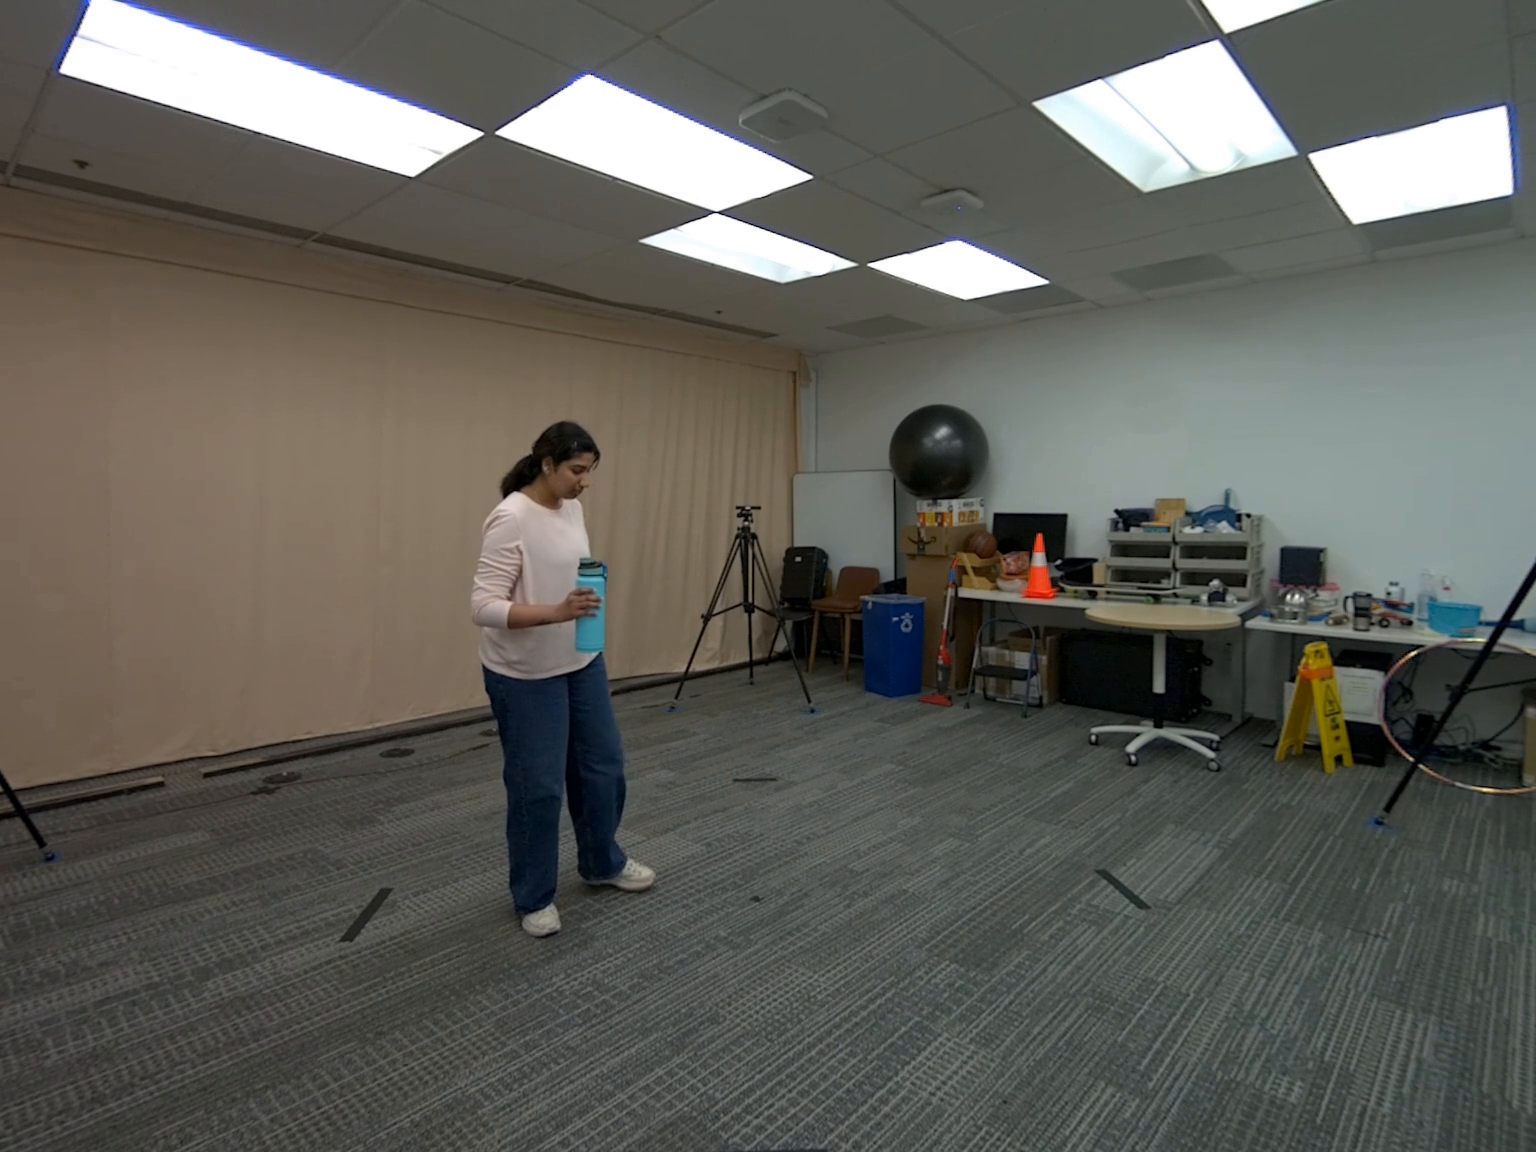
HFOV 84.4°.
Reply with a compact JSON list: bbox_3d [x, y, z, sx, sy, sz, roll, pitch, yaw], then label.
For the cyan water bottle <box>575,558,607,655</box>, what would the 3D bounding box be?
[{"bbox_3d":[-0.538,0.085,2.540,0.092,0.283,0.092,3,3,-2],"label":"cyan water bottle"}]
